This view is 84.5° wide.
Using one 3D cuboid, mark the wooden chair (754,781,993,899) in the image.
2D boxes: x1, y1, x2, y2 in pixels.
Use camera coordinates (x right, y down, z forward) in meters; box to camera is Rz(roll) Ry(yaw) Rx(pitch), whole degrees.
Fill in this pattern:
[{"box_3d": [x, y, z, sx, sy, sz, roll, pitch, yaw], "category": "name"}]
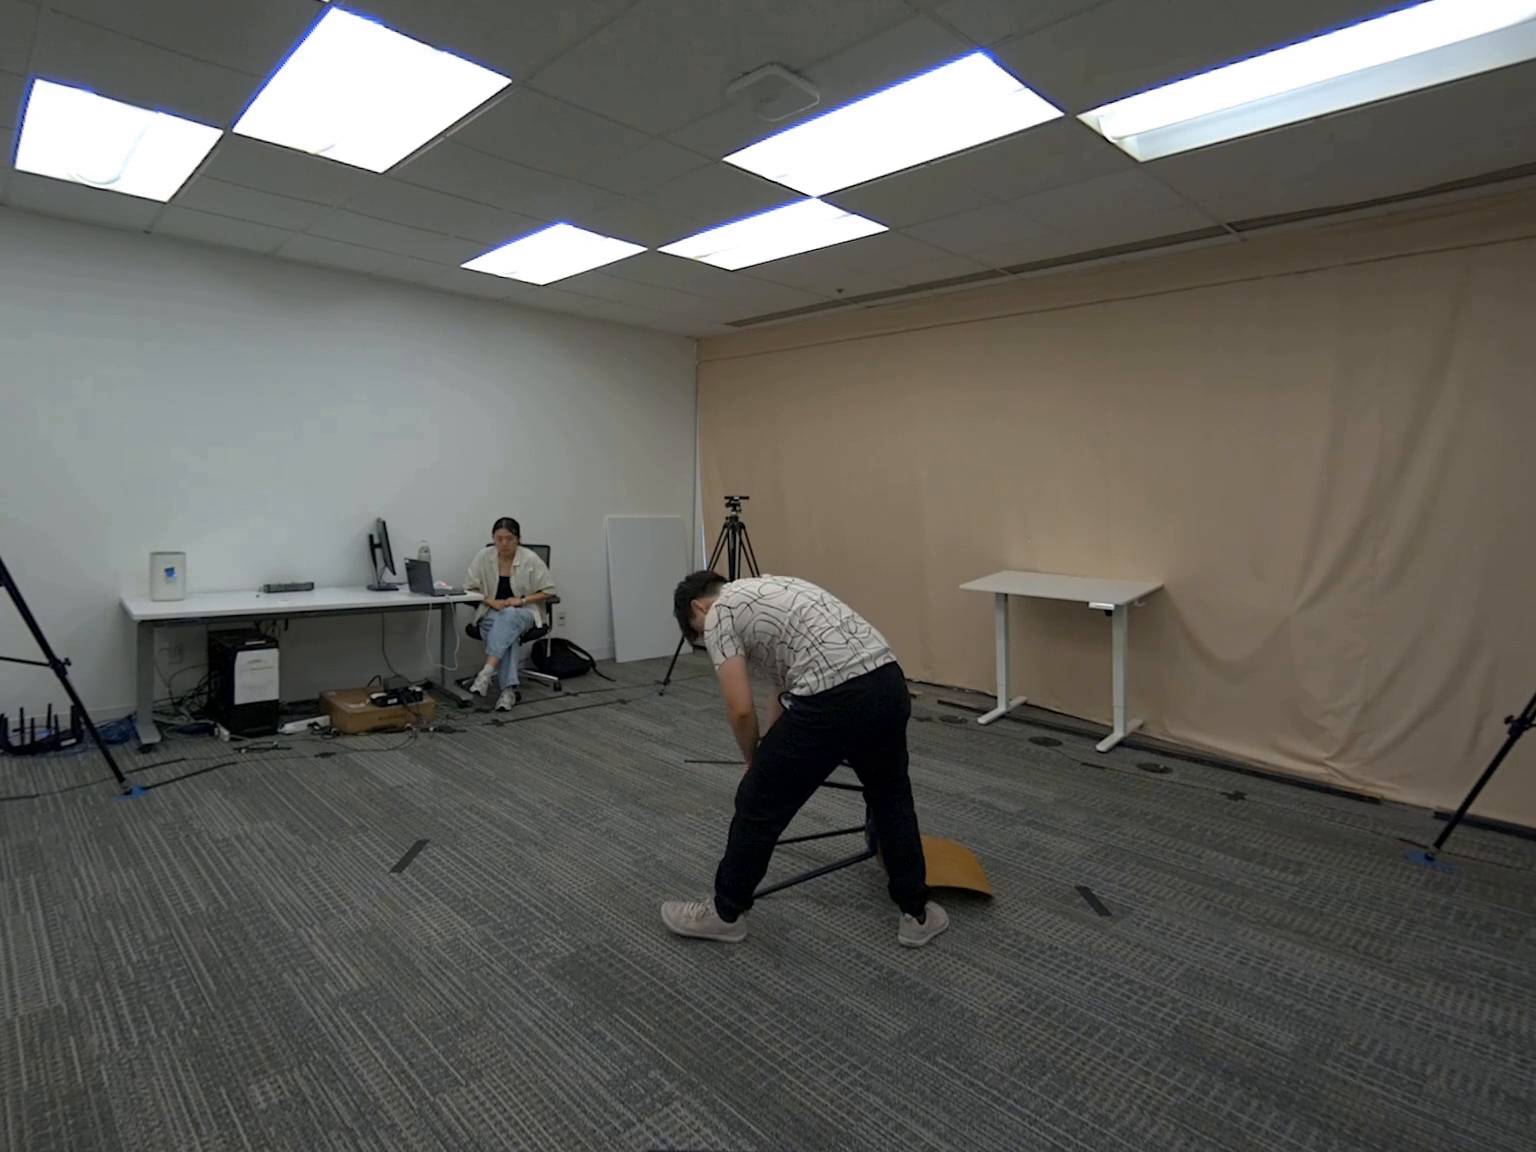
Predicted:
[{"box_3d": [0.382, 0.864, 3.088, 0.882, 0.522, 0.477, 3, 4, 5], "category": "wooden chair"}]
